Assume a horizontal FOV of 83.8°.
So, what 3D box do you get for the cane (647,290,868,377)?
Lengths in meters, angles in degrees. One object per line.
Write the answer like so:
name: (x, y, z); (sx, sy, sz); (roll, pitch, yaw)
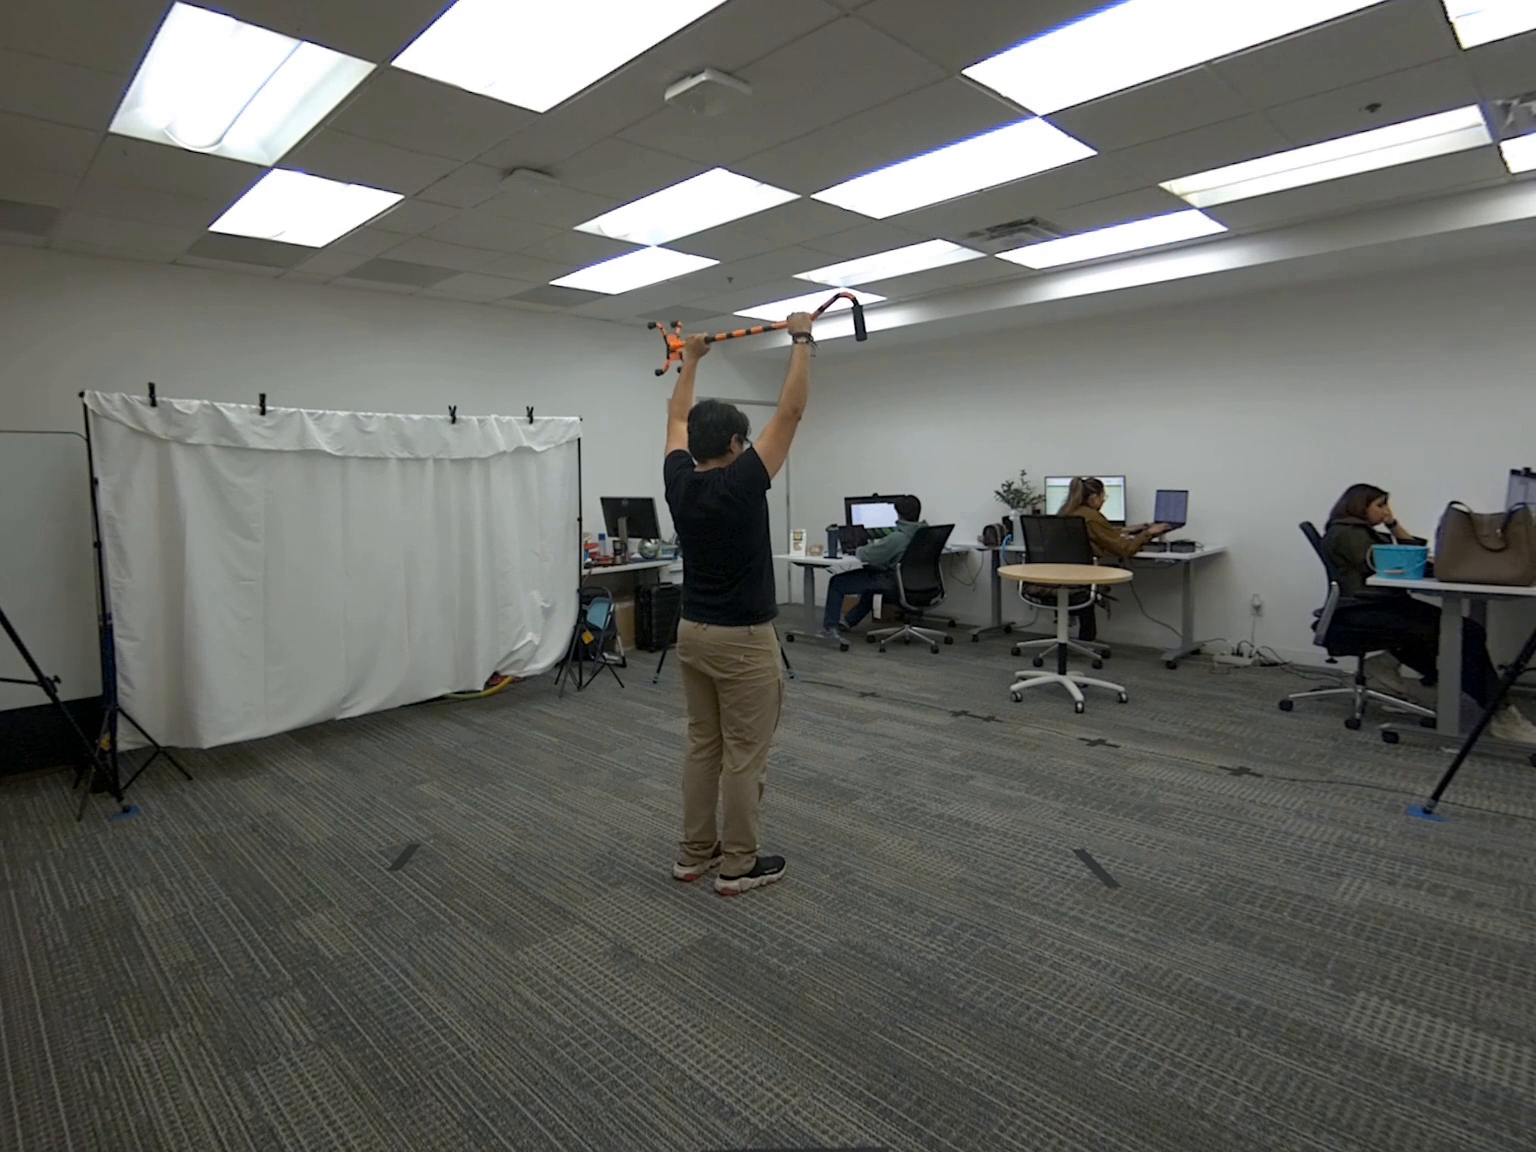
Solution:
cane: (-0.046, -0.859, 2.995); (0.935, 0.204, 0.149); (3, 17, 41)
